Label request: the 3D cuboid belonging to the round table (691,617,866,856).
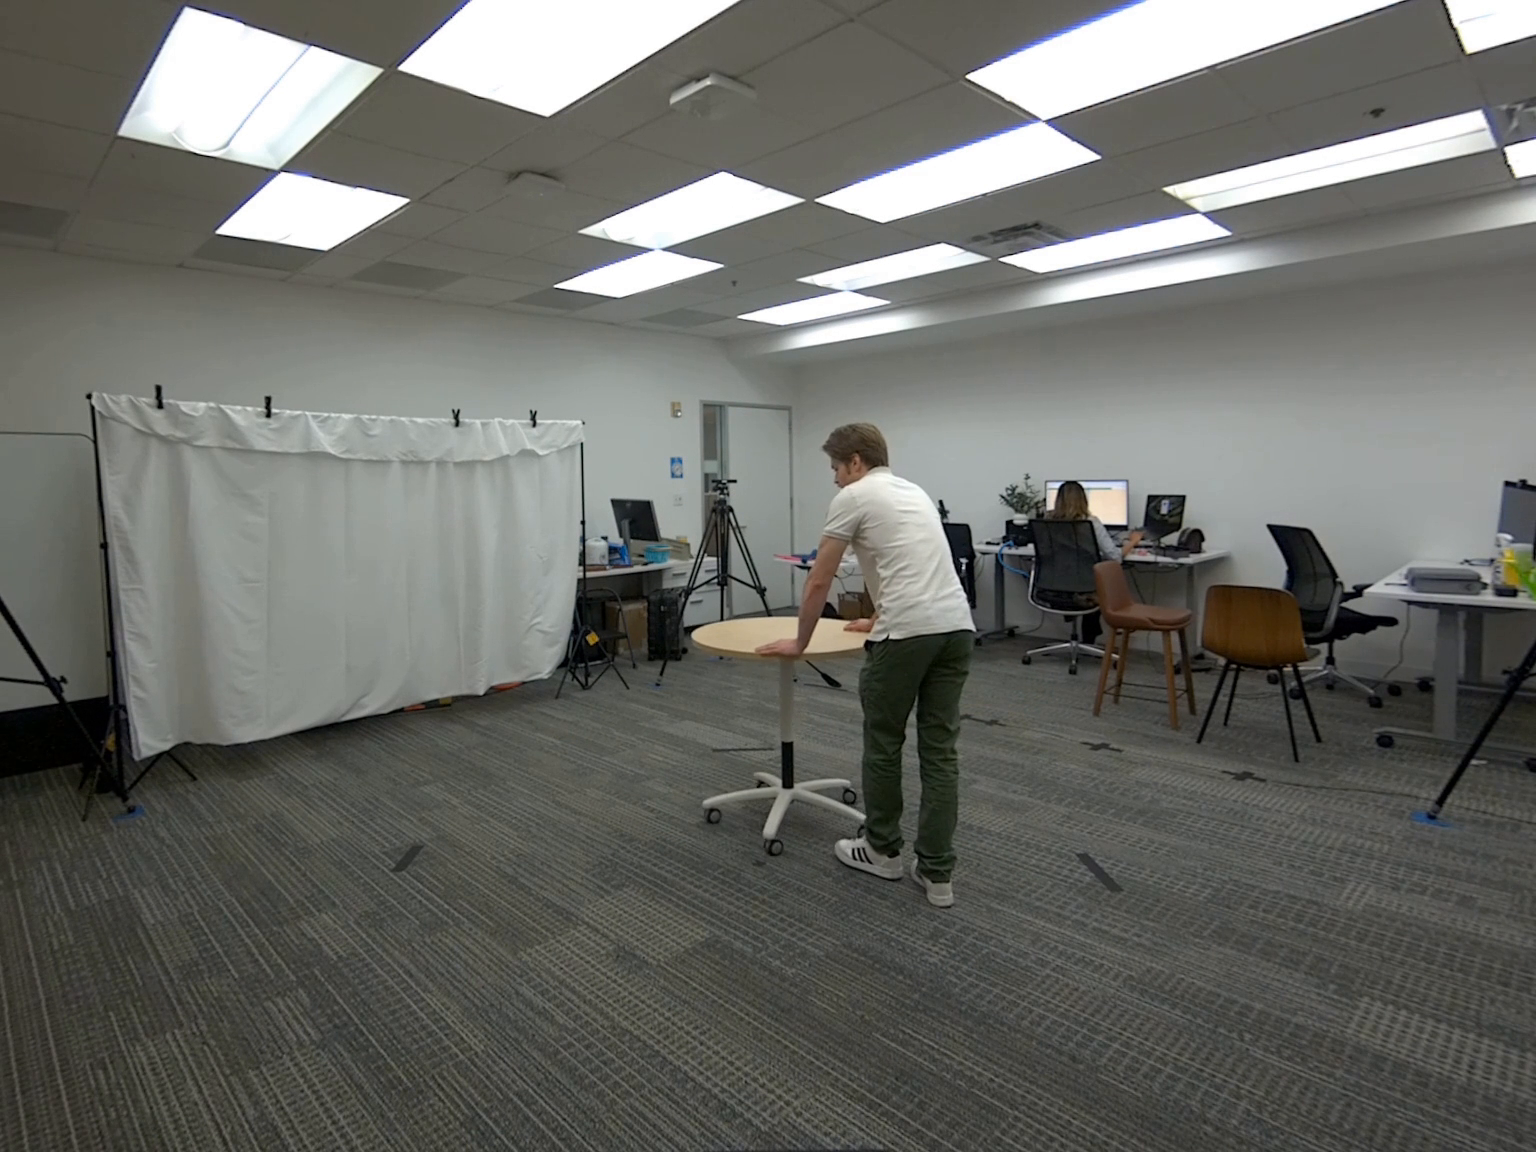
[{"bbox_3d":[0.078,0.618,3.480,0.763,0.791,0.768,-1,5,-2],"label":"round table"}]
